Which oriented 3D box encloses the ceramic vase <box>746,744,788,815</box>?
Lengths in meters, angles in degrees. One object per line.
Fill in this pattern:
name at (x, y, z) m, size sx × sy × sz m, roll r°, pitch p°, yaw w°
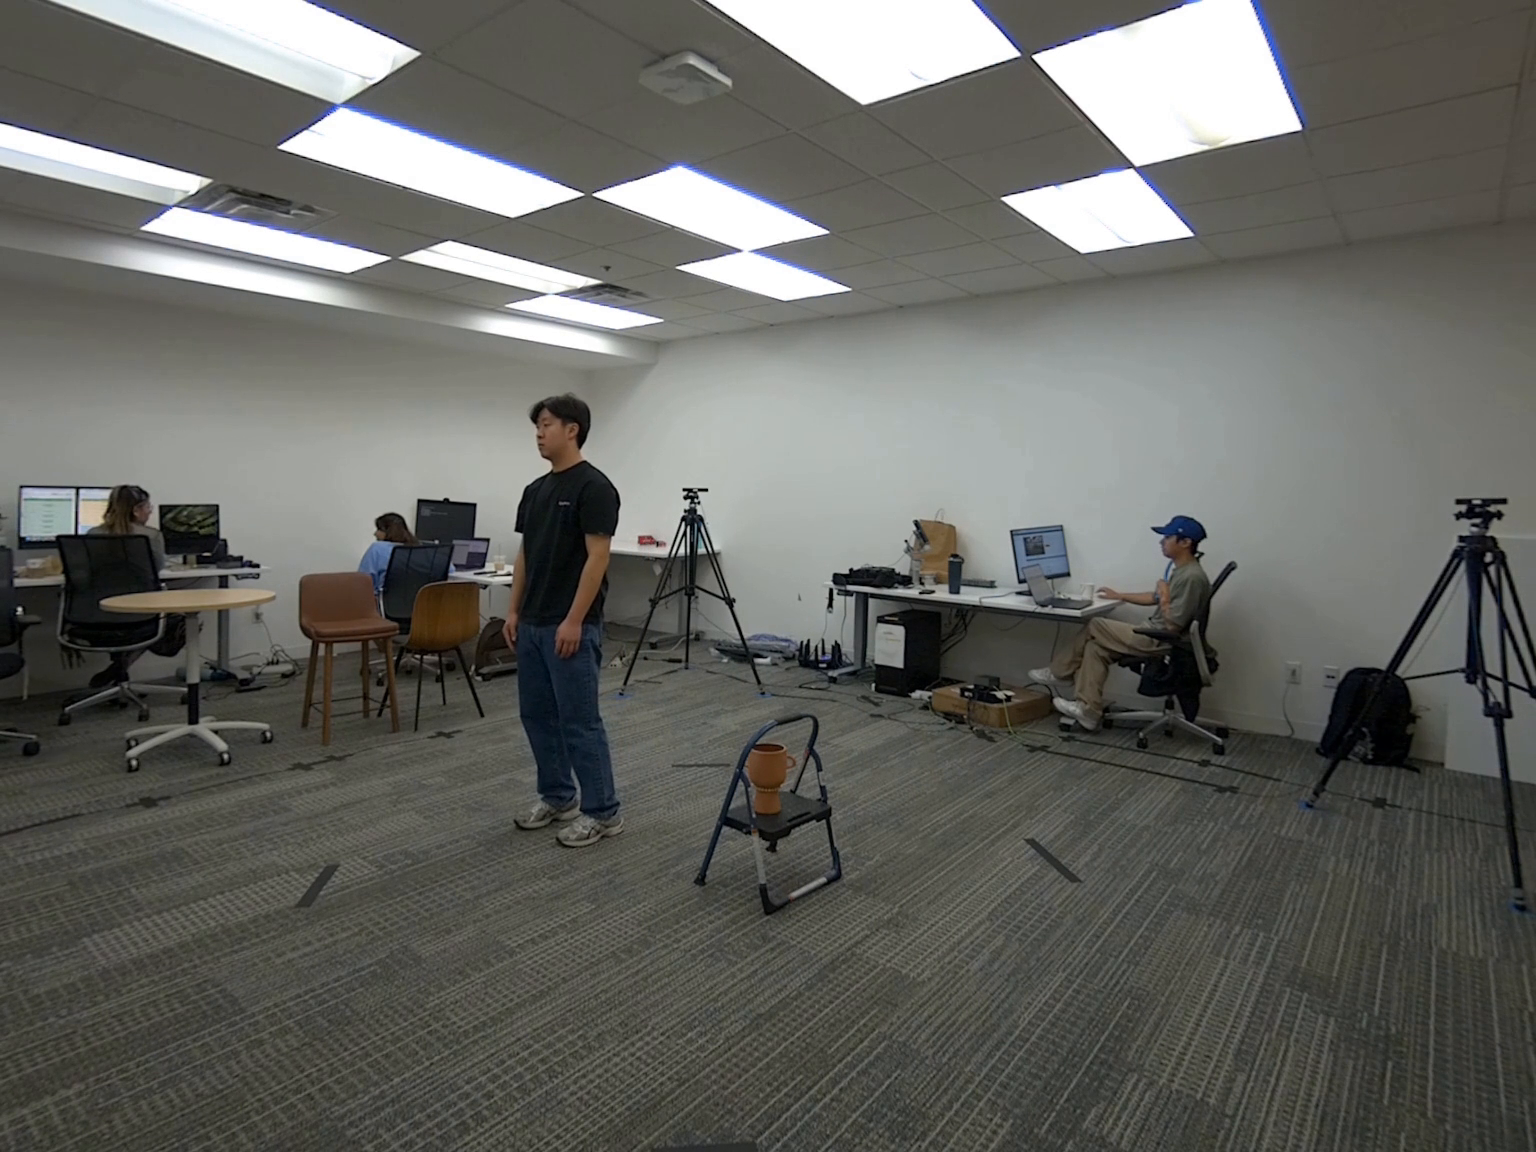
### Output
ceramic vase at (-0.012, 0.714, 2.990) m, size 0.163 × 0.219 × 0.131 m, roll 3°, pitch 3°, yaw 30°
